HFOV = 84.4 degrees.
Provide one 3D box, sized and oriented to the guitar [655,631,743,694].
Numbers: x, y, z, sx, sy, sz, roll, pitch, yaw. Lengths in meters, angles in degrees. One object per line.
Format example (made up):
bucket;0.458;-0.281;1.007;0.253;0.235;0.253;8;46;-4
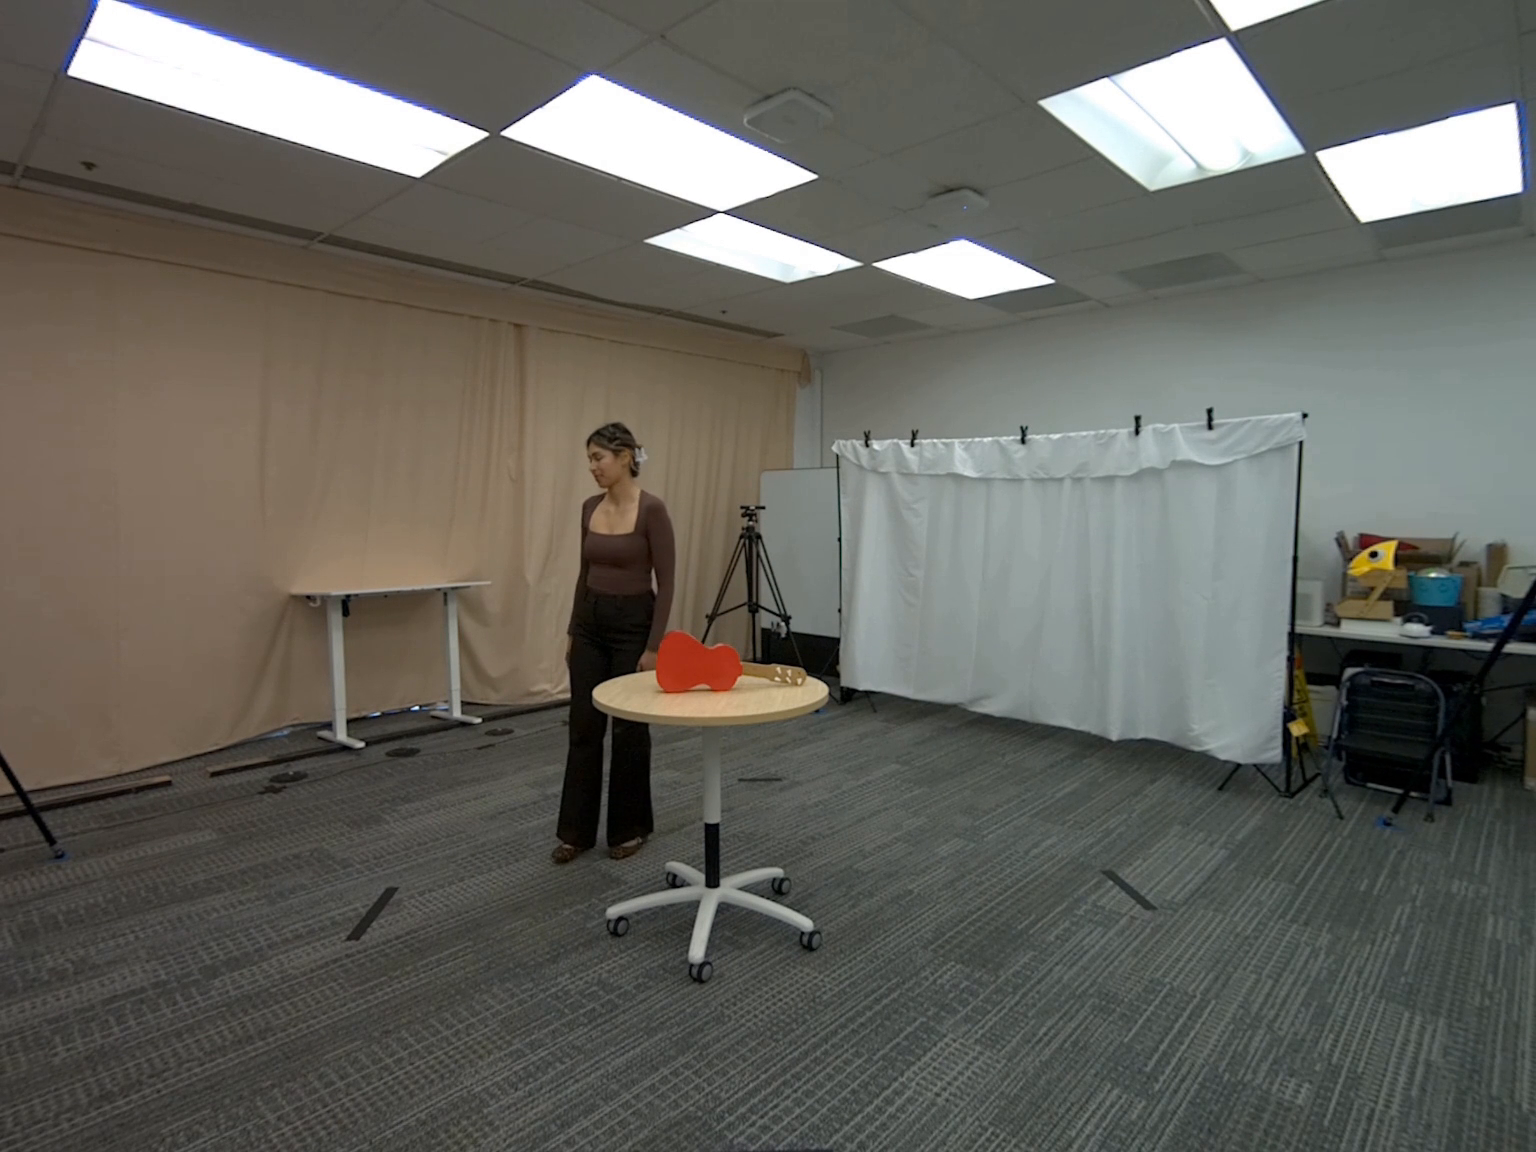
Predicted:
guitar;-0.112;0.280;2.721;0.494;0.193;0.071;-1;-1;-7
